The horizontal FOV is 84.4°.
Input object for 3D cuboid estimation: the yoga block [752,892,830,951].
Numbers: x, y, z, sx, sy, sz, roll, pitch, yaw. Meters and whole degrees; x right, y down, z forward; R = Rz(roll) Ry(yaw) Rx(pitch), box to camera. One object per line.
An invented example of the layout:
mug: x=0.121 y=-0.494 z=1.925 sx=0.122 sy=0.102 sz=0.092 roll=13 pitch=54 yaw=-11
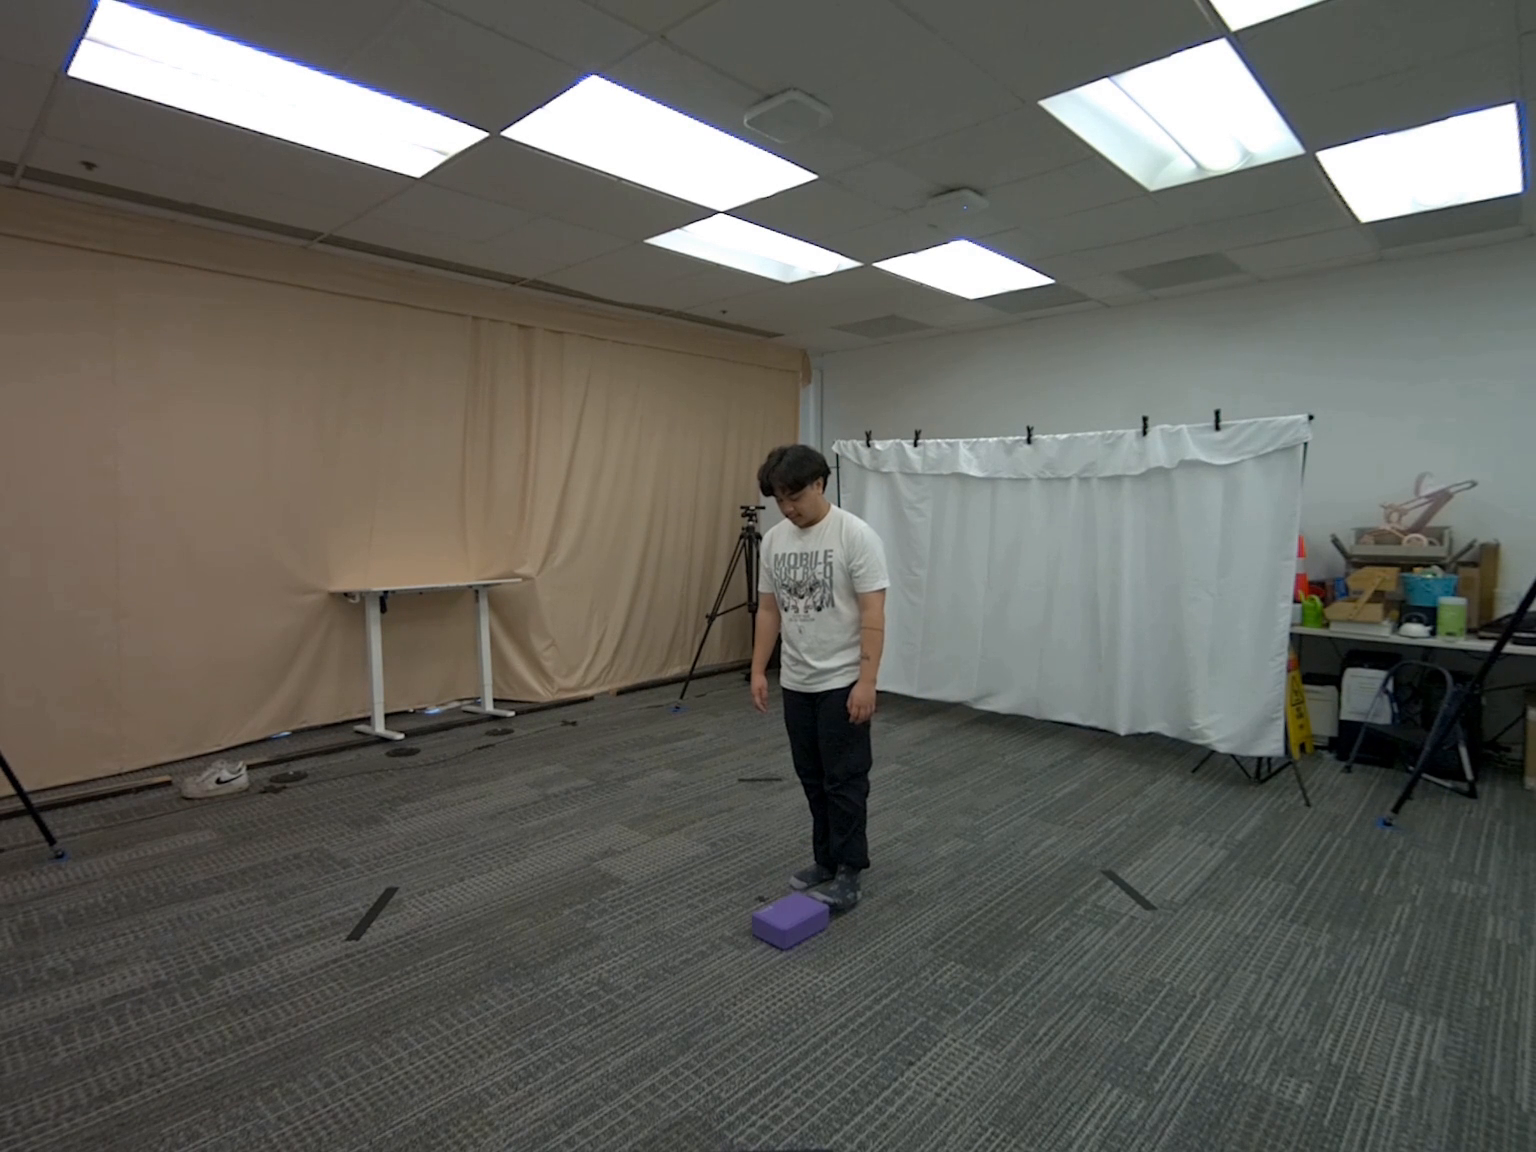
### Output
yoga block: x=0.080 y=1.119 z=2.756 sx=0.154 sy=0.076 sz=0.222 roll=6 pitch=7 yaw=43
